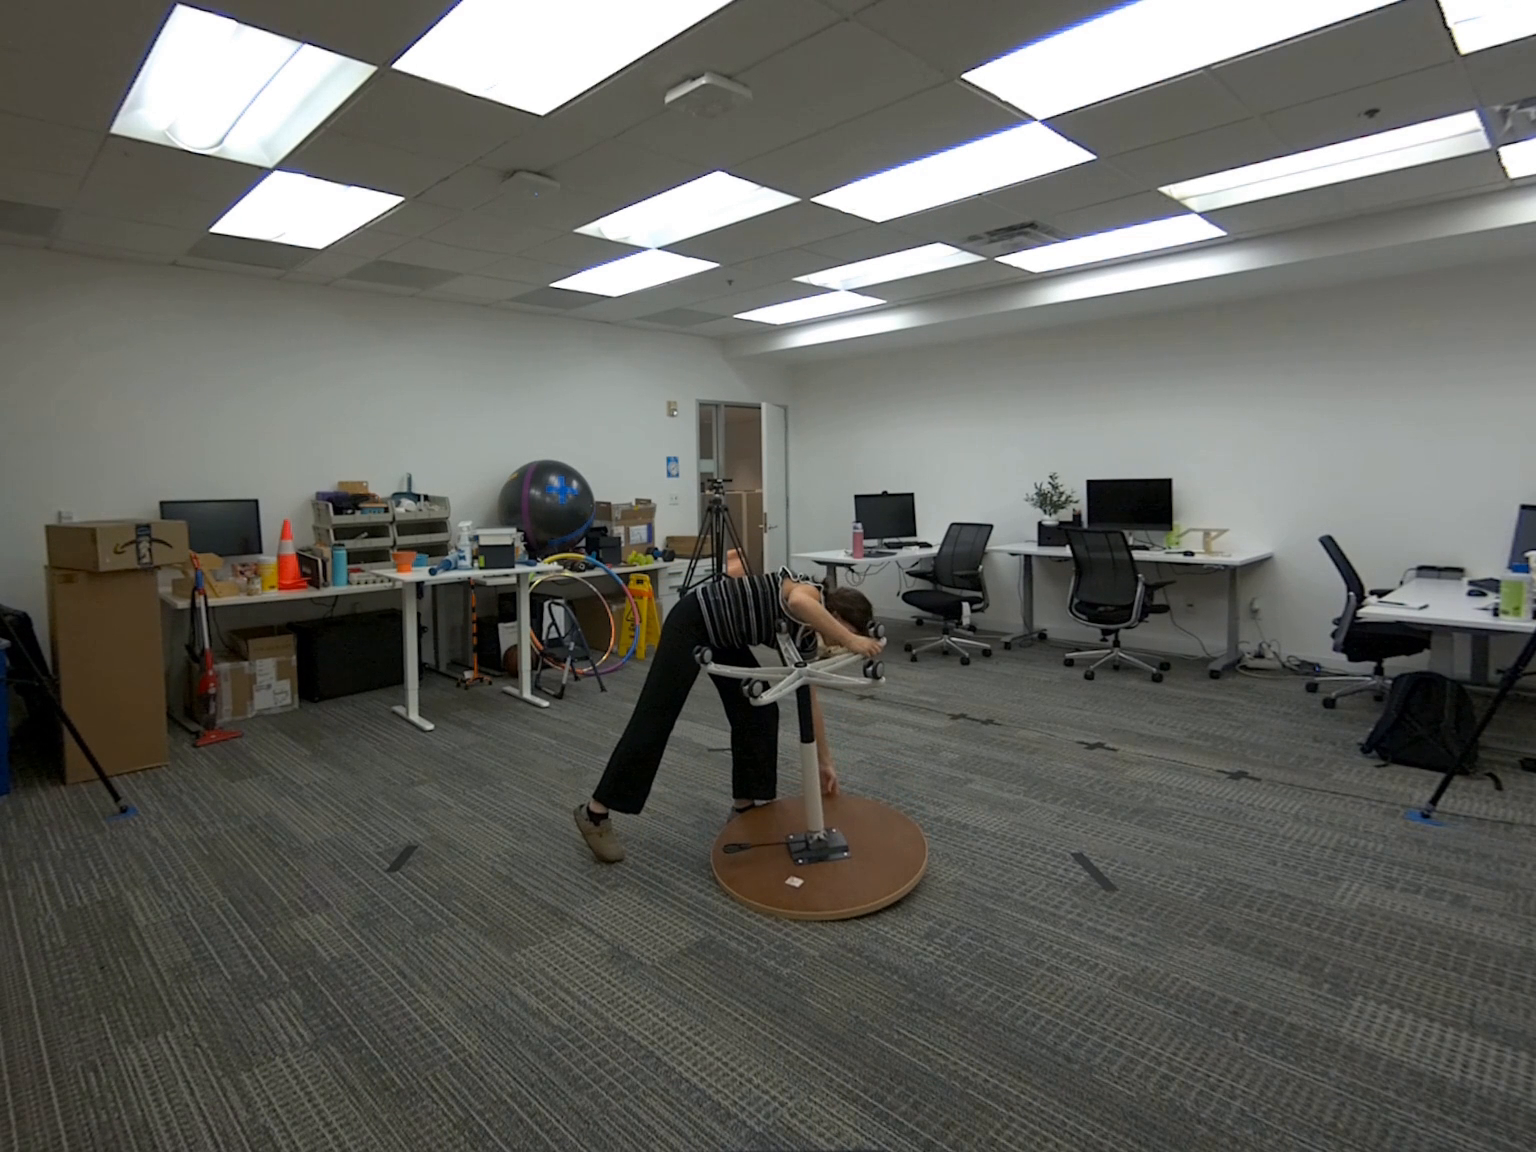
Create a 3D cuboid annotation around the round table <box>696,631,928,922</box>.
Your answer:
[{"bbox_3d":[0.142,0.611,2.990,0.764,0.785,0.773,-5,12,-1],"label":"round table"}]
